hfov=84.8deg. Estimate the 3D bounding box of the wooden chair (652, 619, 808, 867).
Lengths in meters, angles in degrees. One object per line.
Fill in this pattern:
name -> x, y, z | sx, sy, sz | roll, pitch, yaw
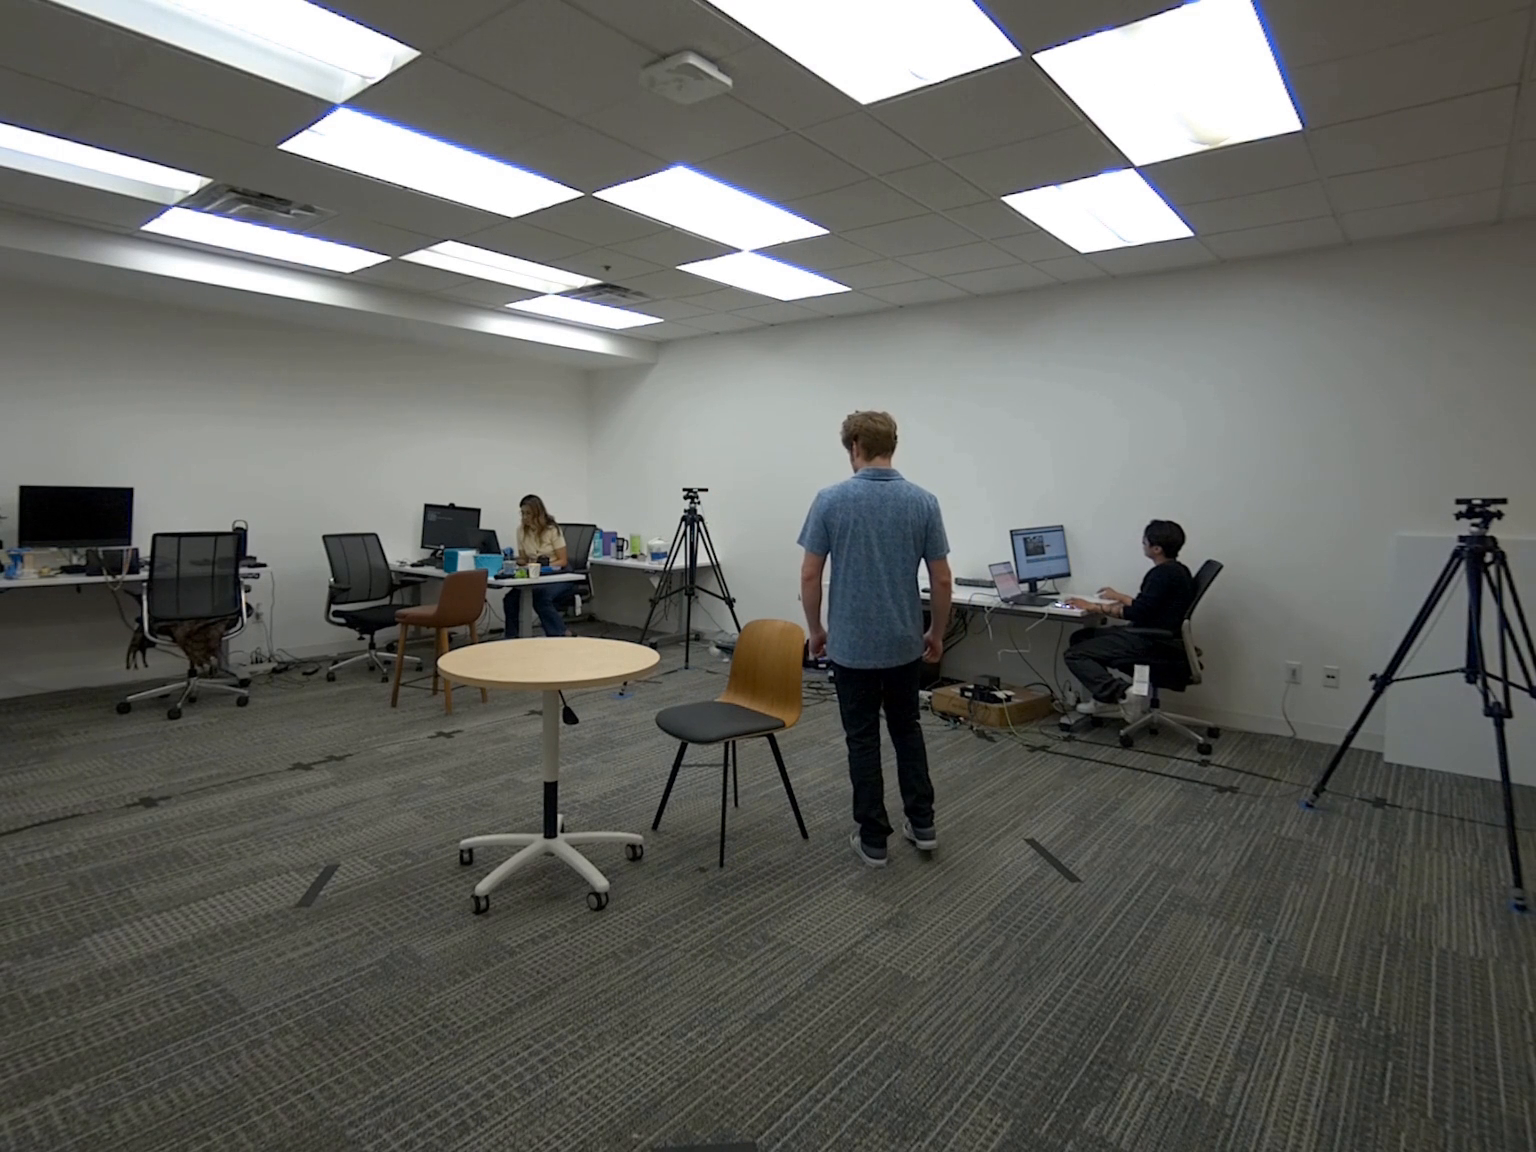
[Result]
wooden chair -> -0.160, 0.614, 3.403 | 0.506, 0.877, 0.494 | 4, 1, -42
